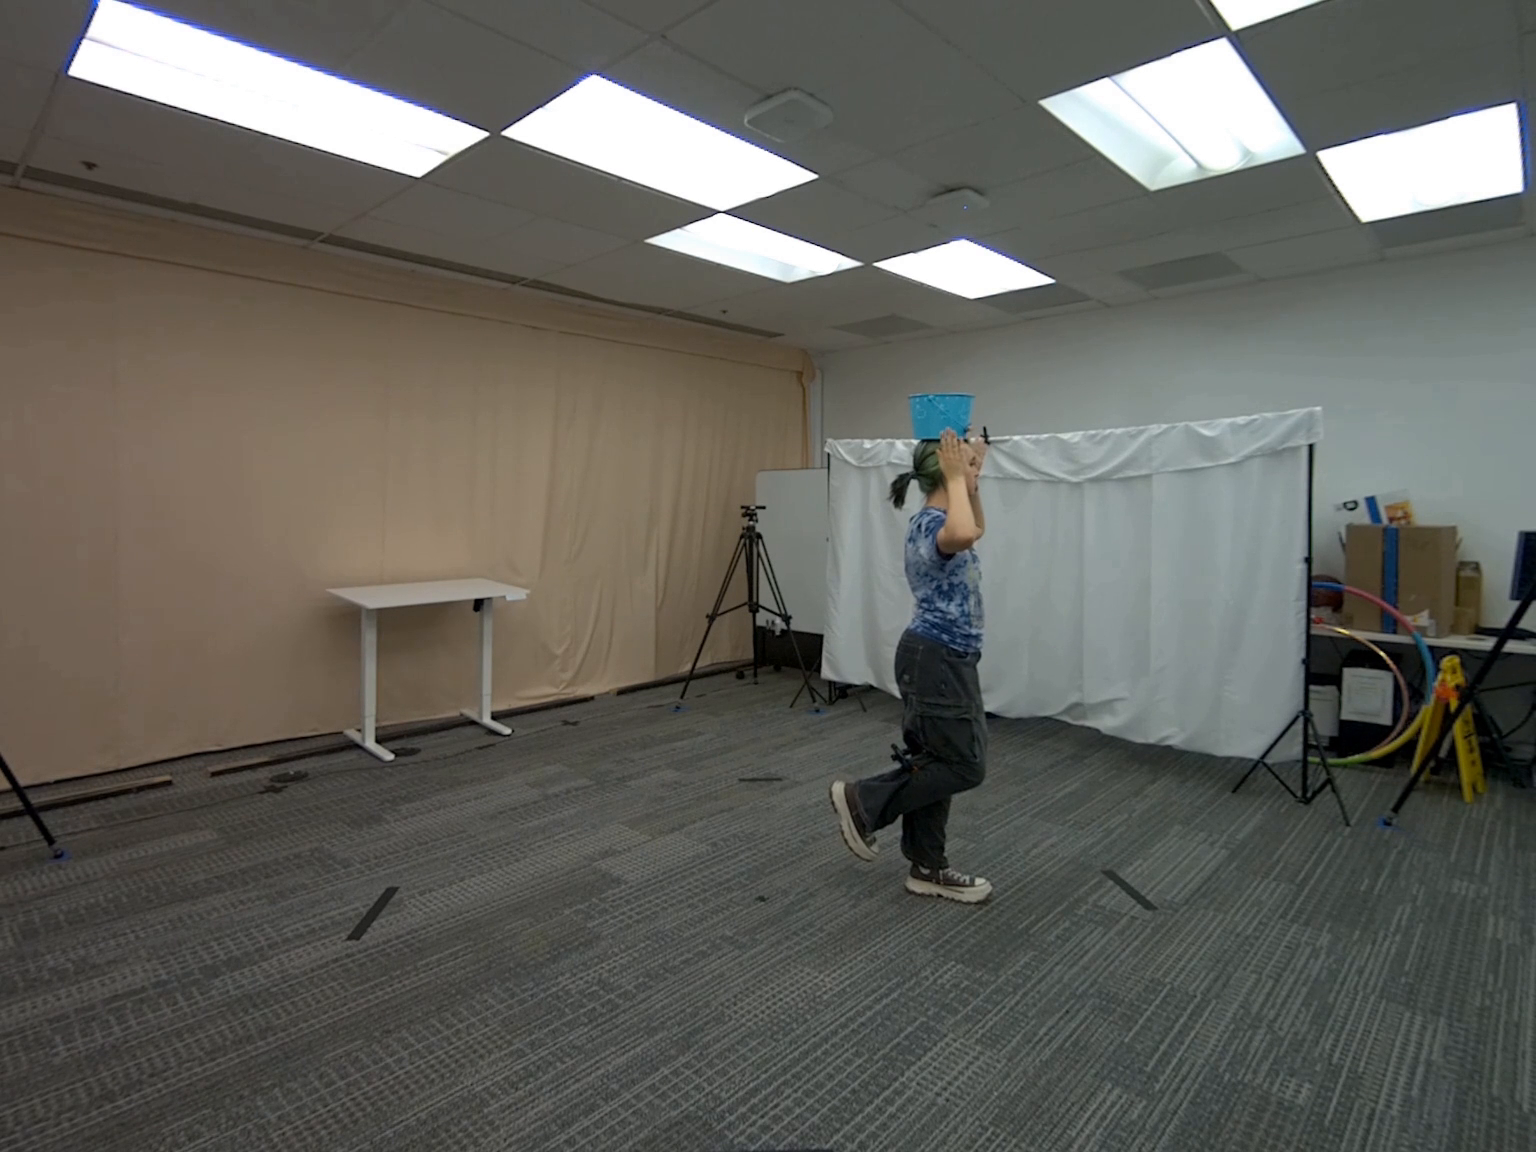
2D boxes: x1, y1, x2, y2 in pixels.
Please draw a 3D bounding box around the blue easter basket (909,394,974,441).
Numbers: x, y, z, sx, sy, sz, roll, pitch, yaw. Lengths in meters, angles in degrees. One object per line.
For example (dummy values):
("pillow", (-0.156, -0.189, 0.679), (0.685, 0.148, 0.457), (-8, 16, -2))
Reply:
("blue easter basket", (0.615, -0.557, 2.978), (0.243, 0.155, 0.245), (0, 6, -2))
